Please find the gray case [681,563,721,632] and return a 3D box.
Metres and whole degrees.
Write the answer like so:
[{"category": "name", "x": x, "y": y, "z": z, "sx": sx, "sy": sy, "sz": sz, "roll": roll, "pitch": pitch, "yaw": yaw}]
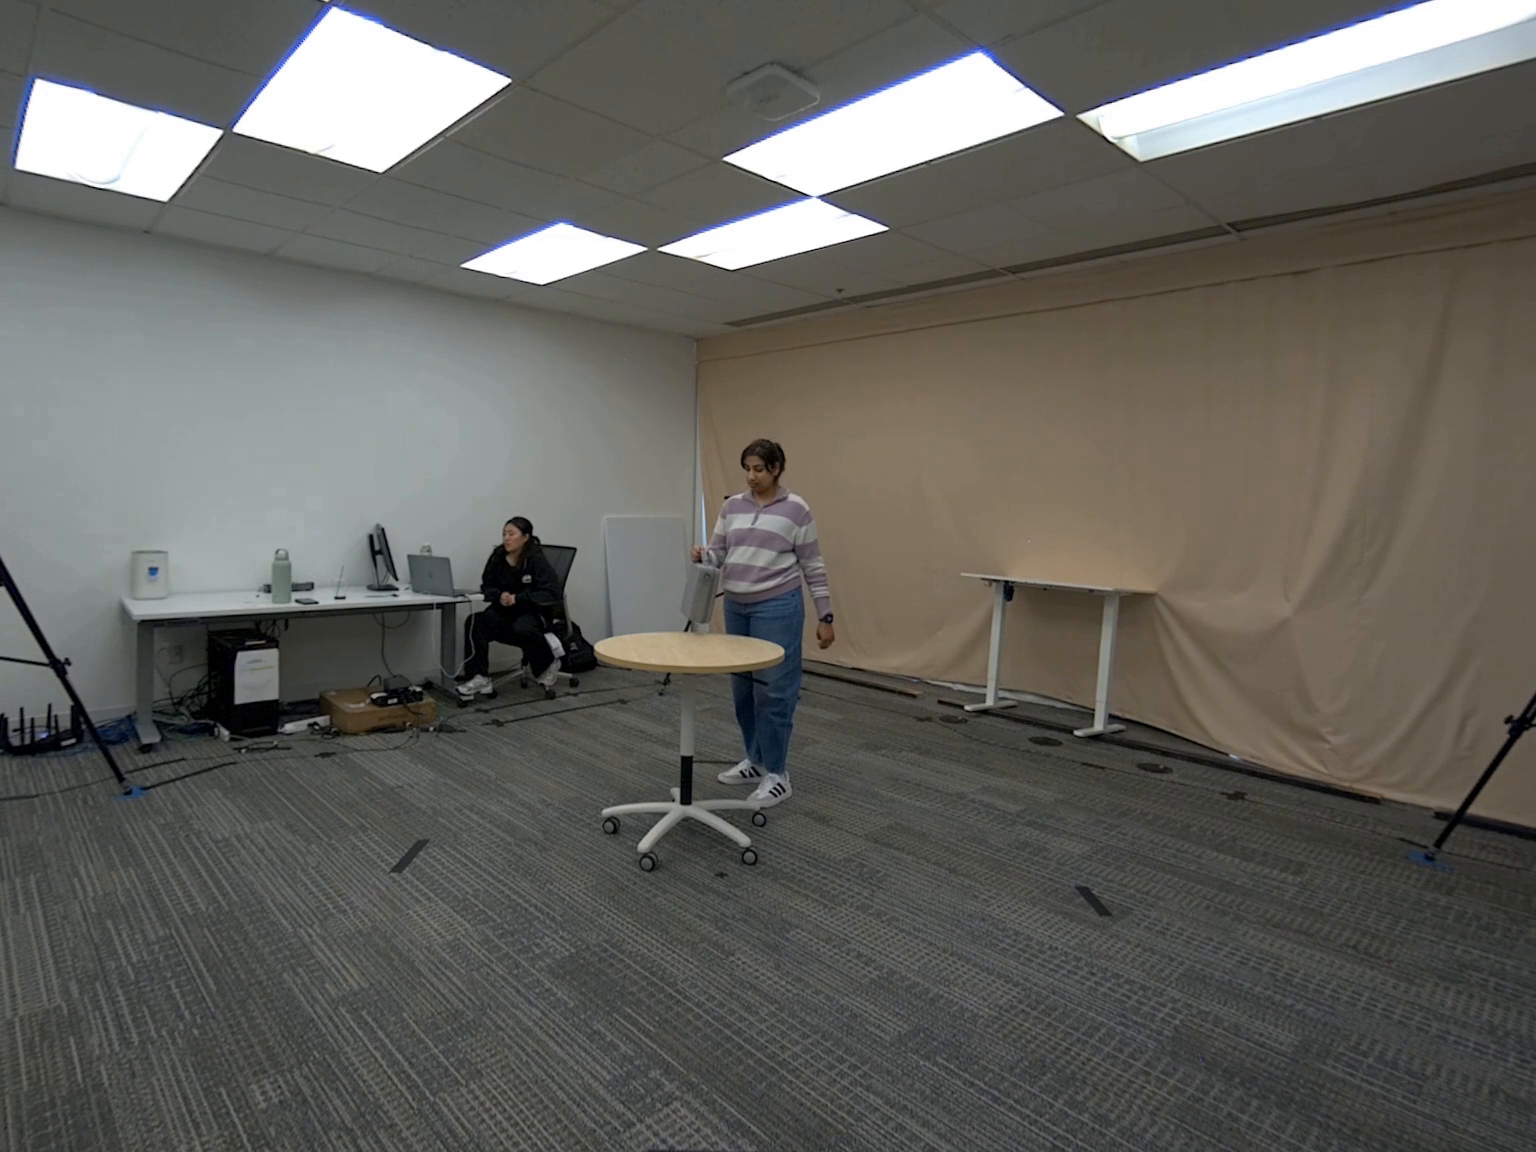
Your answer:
[{"category": "gray case", "x": -0.309, "y": 0.071, "z": 3.783, "sx": 0.103, "sy": 0.260, "sz": 0.260, "roll": 10, "pitch": 2, "yaw": -15}]
